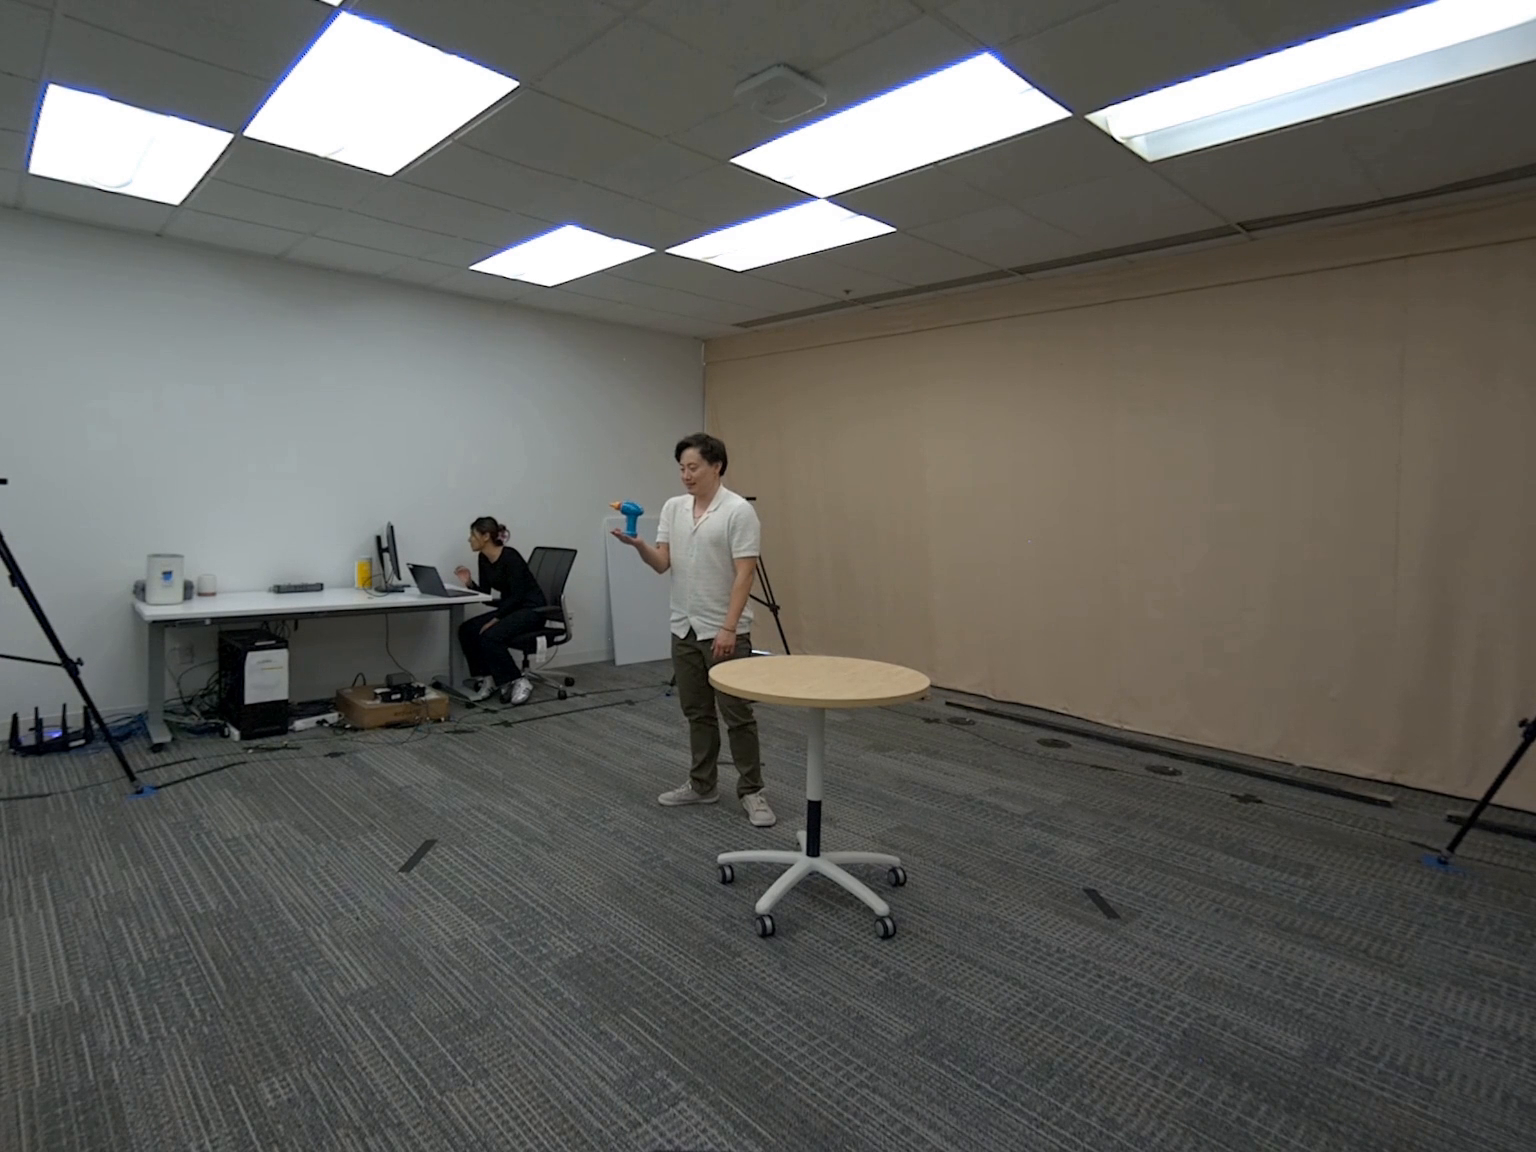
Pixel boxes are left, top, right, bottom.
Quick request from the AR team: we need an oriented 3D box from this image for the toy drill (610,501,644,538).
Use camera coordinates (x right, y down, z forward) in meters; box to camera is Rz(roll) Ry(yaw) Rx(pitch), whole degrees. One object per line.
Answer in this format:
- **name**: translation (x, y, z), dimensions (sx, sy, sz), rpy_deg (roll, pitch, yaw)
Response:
- **toy drill**: translation (-0.595, -0.243, 3.516), dimensions (0.172, 0.146, 0.060), rpy_deg (14, 4, 15)
